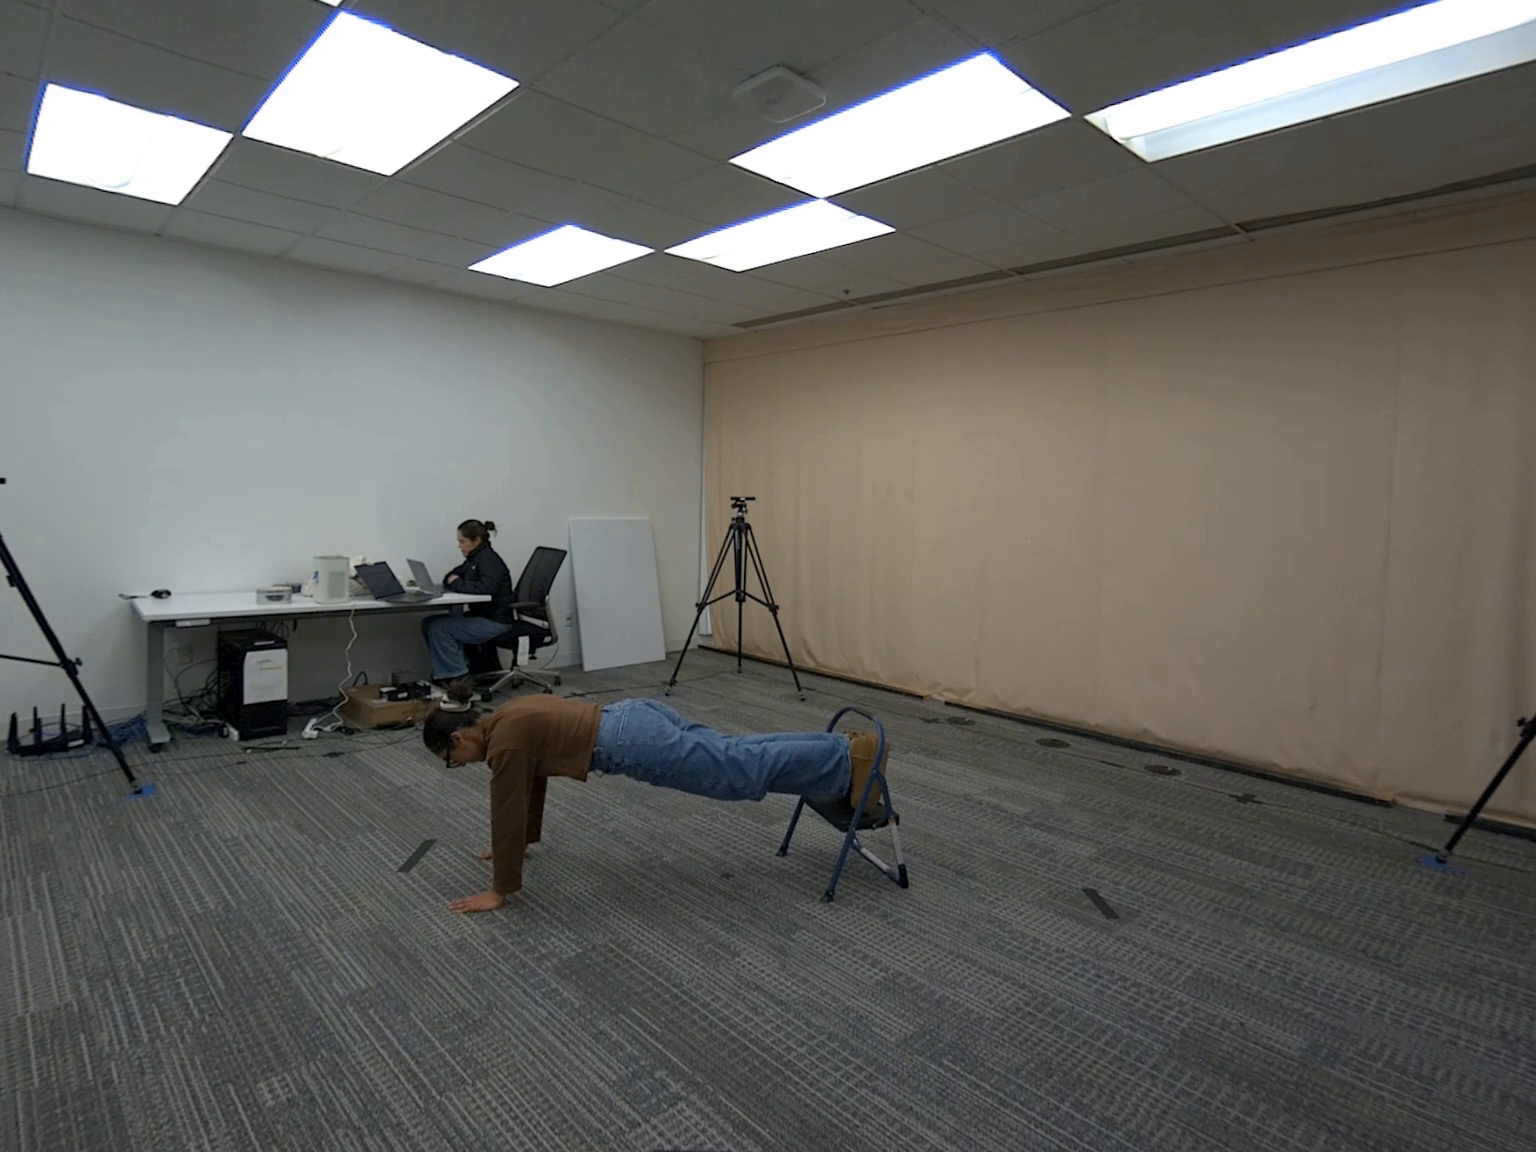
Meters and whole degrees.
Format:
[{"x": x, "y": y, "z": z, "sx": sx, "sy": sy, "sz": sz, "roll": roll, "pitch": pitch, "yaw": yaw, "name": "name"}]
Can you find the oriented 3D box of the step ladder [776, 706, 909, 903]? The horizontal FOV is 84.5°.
[{"x": 0.276, "y": 0.813, "z": 3.154, "sx": 0.343, "sy": 0.605, "sz": 0.439, "roll": 0, "pitch": 4, "yaw": -23, "name": "step ladder"}]
